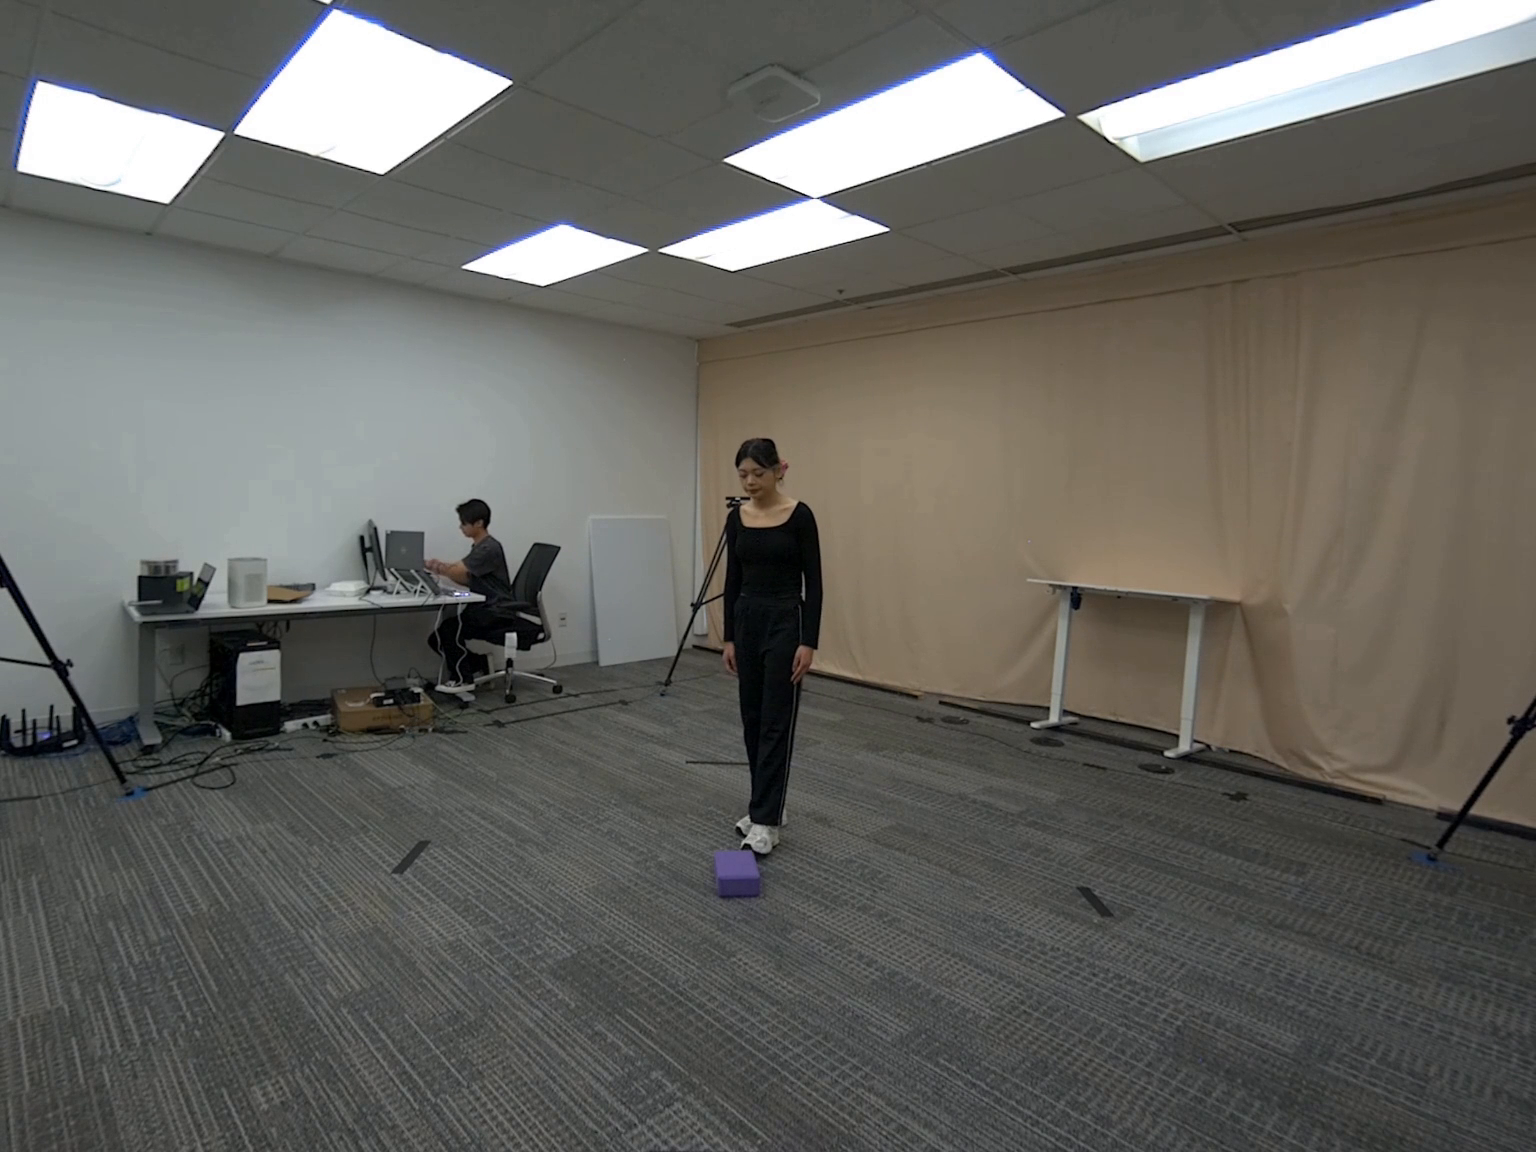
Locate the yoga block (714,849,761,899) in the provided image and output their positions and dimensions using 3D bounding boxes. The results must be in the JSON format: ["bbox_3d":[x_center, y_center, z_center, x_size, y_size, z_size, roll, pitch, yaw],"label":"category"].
[{"bbox_3d":[-0.122,1.073,3.042,0.148,0.076,0.231,0,4,-7],"label":"yoga block"}]
